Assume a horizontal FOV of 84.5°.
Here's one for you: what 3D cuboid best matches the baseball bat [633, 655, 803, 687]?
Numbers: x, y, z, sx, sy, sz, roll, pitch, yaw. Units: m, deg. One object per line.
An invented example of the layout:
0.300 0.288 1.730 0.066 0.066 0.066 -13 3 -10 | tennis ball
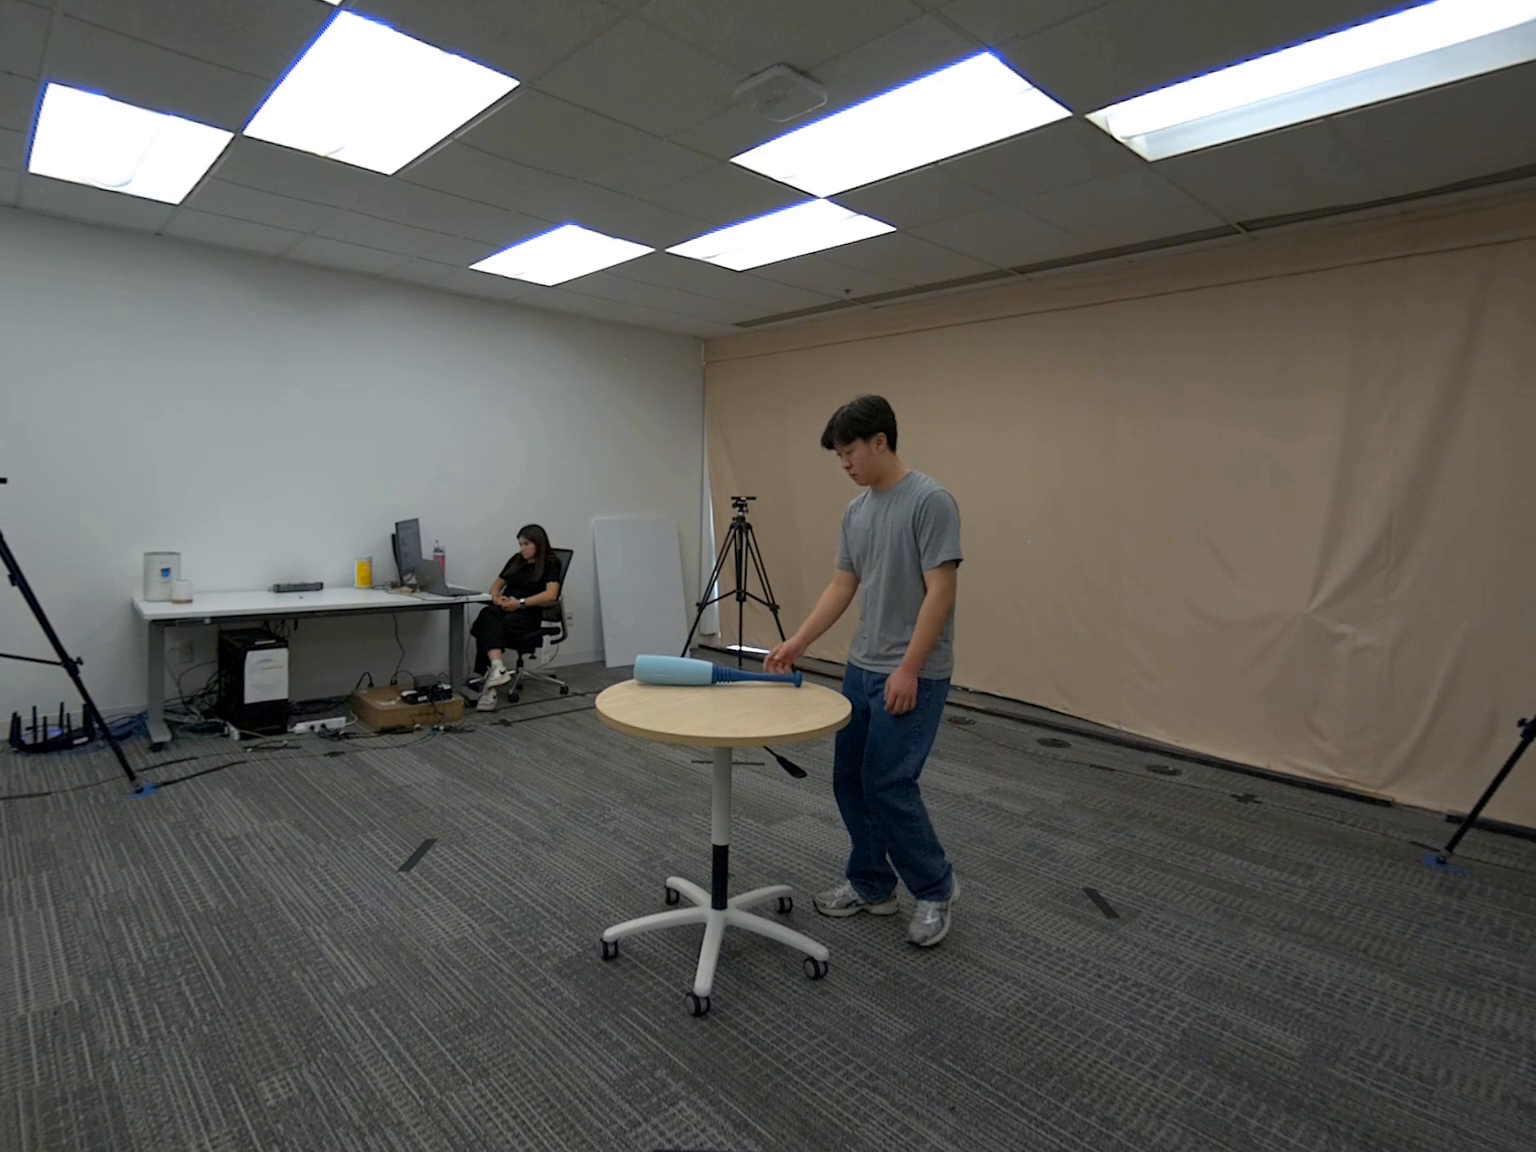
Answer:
-0.161 0.316 2.721 0.541 0.089 0.089 4 4 -5 | baseball bat
